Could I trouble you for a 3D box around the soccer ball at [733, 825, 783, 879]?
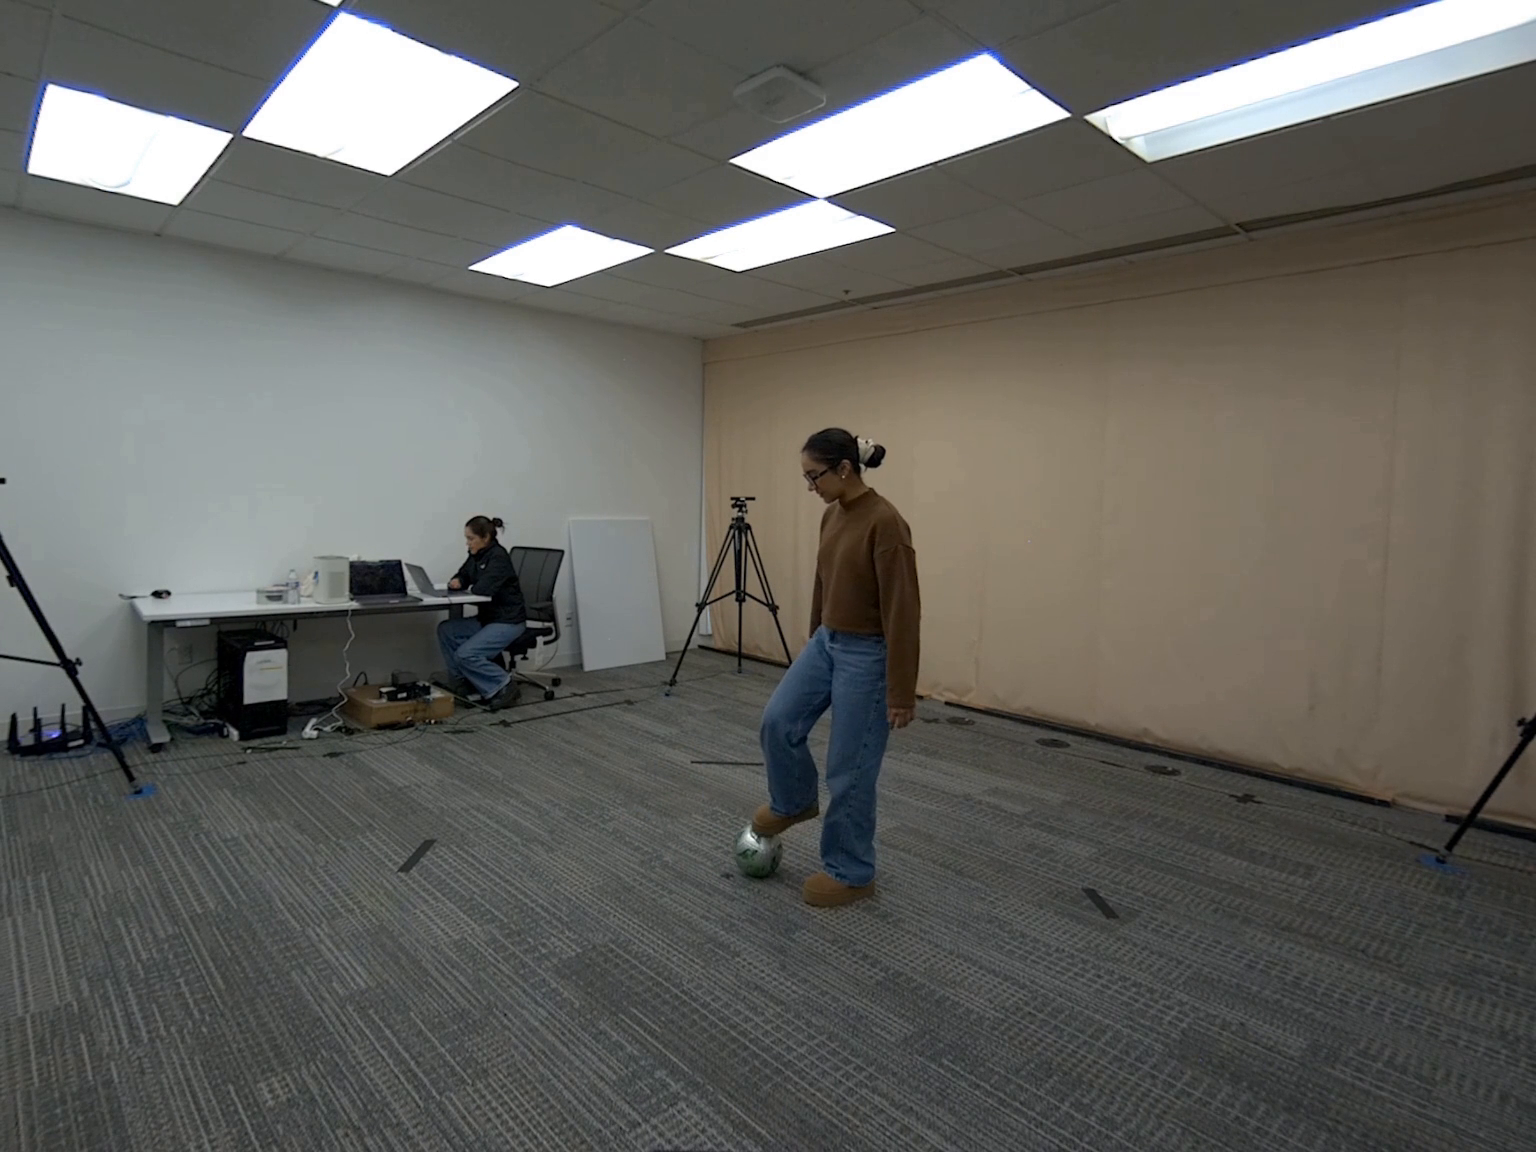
[{"bbox_3d":[-0.047,1.016,3.113,0.187,0.187,0.188,1,4,-1],"label":"soccer ball"}]
